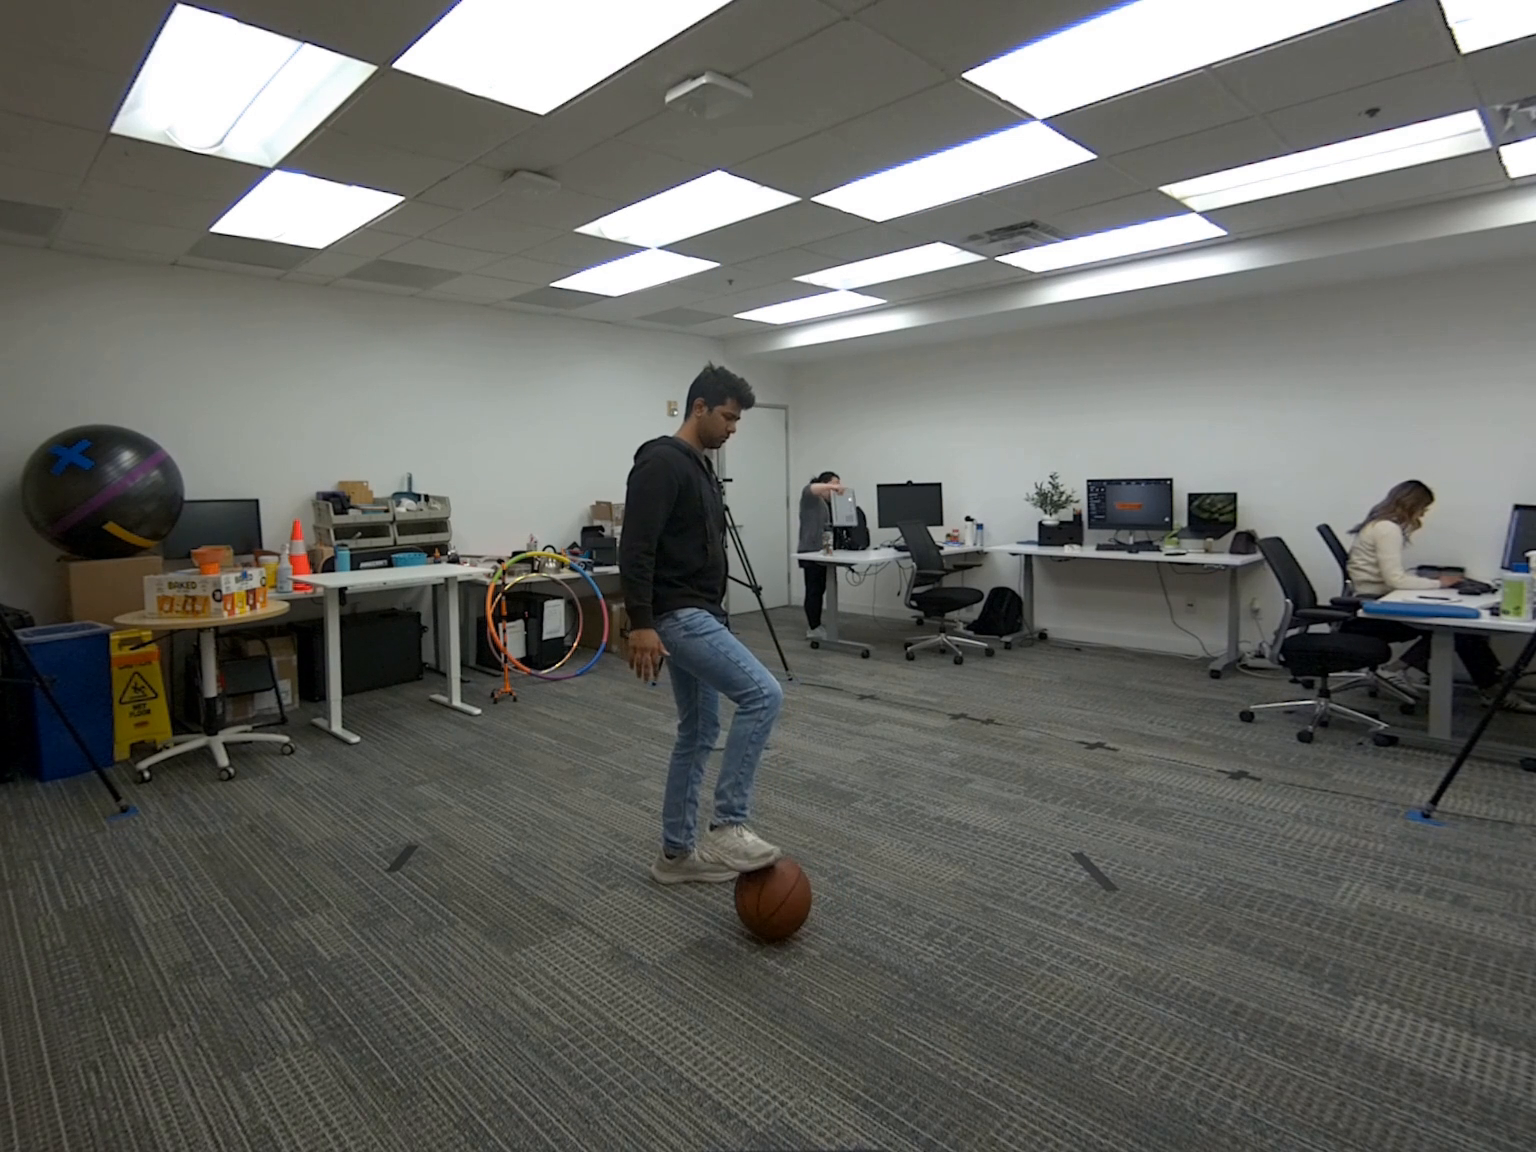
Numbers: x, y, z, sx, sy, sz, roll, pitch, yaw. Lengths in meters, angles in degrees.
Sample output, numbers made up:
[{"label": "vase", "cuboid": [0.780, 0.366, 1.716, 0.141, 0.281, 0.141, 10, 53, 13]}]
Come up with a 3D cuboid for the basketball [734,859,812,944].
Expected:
[{"label": "basketball", "cuboid": [0.034, 0.978, 2.627, 0.236, 0.235, 0.237, -1, 5, -2]}]
